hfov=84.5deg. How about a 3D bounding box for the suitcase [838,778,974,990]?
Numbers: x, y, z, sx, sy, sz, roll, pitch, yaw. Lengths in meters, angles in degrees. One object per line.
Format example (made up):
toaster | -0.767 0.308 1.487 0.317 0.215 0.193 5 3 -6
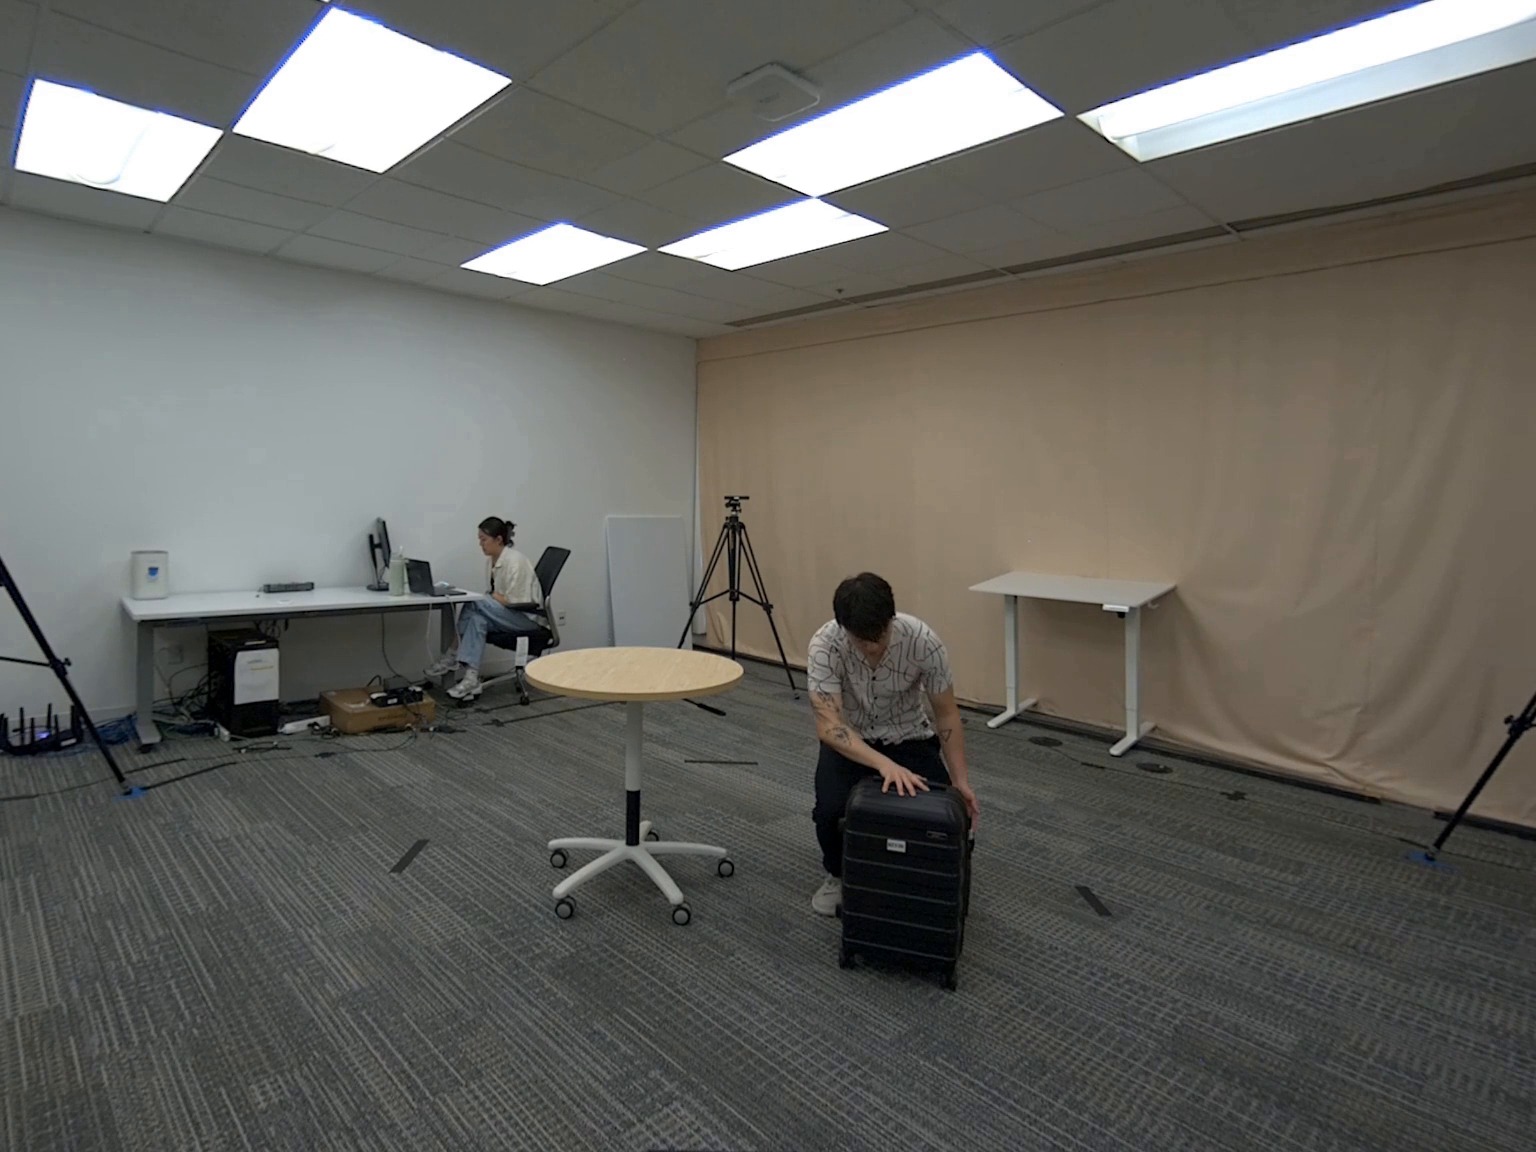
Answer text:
suitcase | 0.403 0.903 2.529 0.381 0.547 0.245 4 6 18
